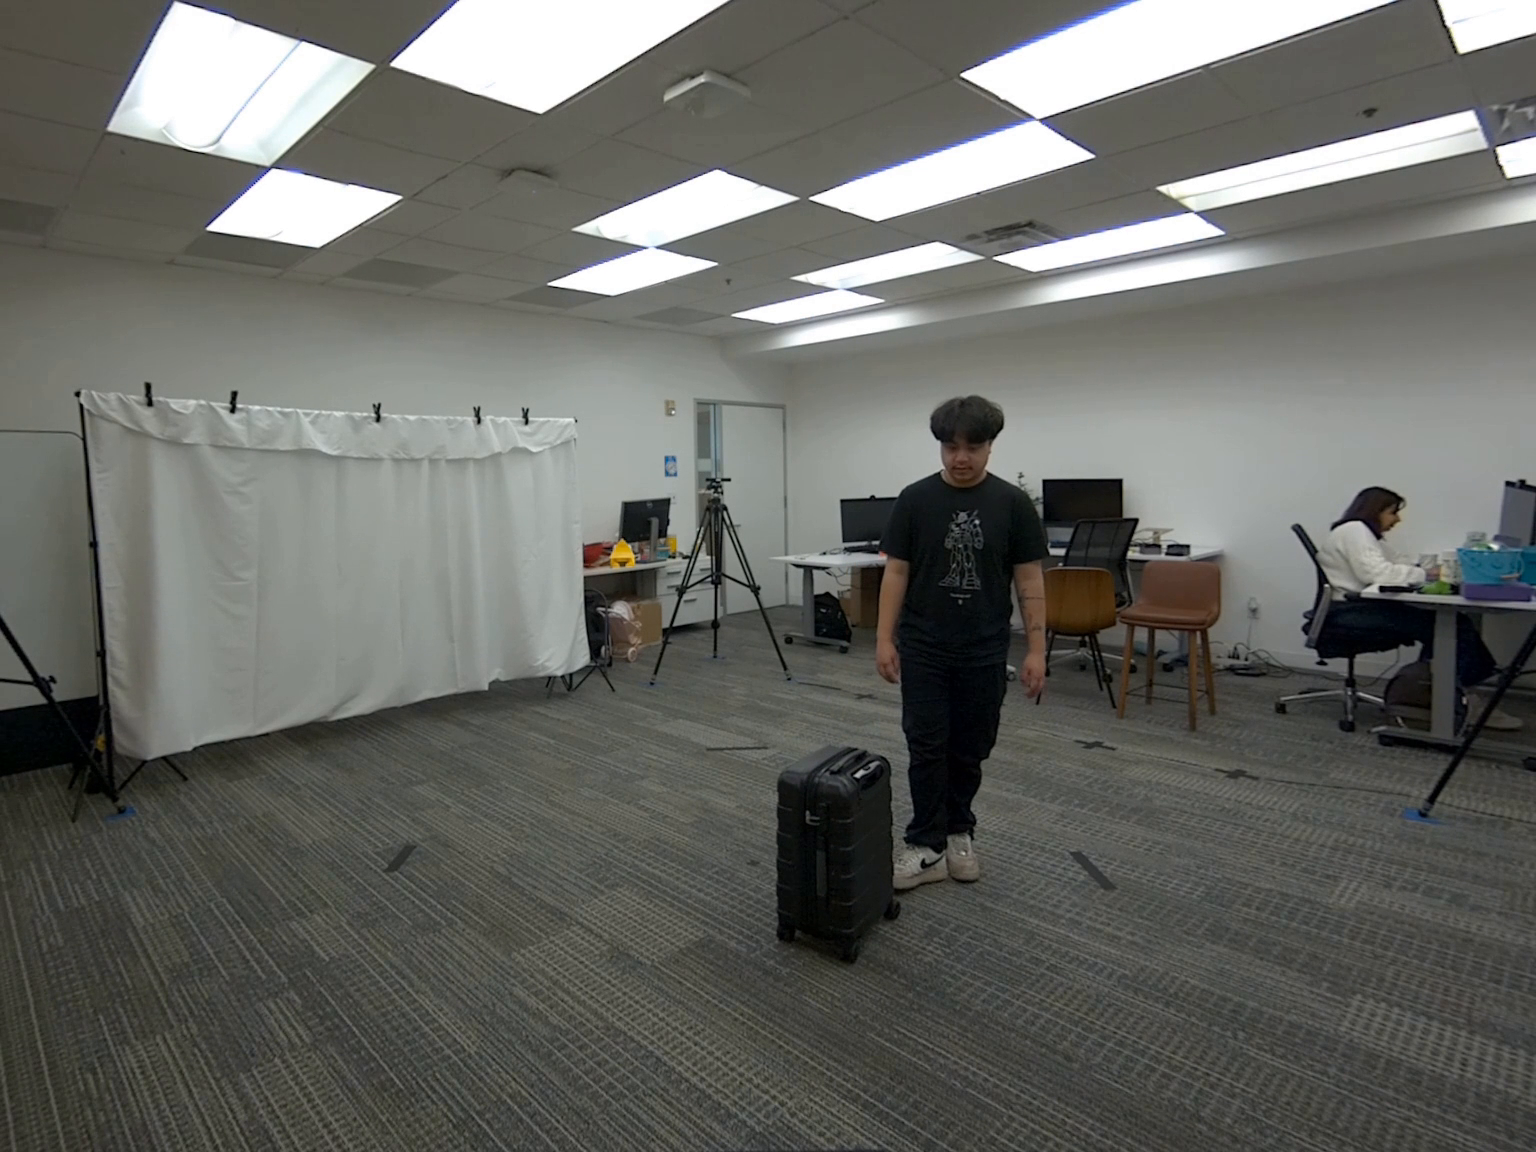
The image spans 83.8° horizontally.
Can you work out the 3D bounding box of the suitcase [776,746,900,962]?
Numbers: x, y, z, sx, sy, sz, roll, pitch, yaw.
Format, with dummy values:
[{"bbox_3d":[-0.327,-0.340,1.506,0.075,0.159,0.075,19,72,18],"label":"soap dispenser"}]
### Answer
[{"bbox_3d":[0.214,0.820,2.609,0.255,0.546,0.367,1,7,33],"label":"suitcase"}]
